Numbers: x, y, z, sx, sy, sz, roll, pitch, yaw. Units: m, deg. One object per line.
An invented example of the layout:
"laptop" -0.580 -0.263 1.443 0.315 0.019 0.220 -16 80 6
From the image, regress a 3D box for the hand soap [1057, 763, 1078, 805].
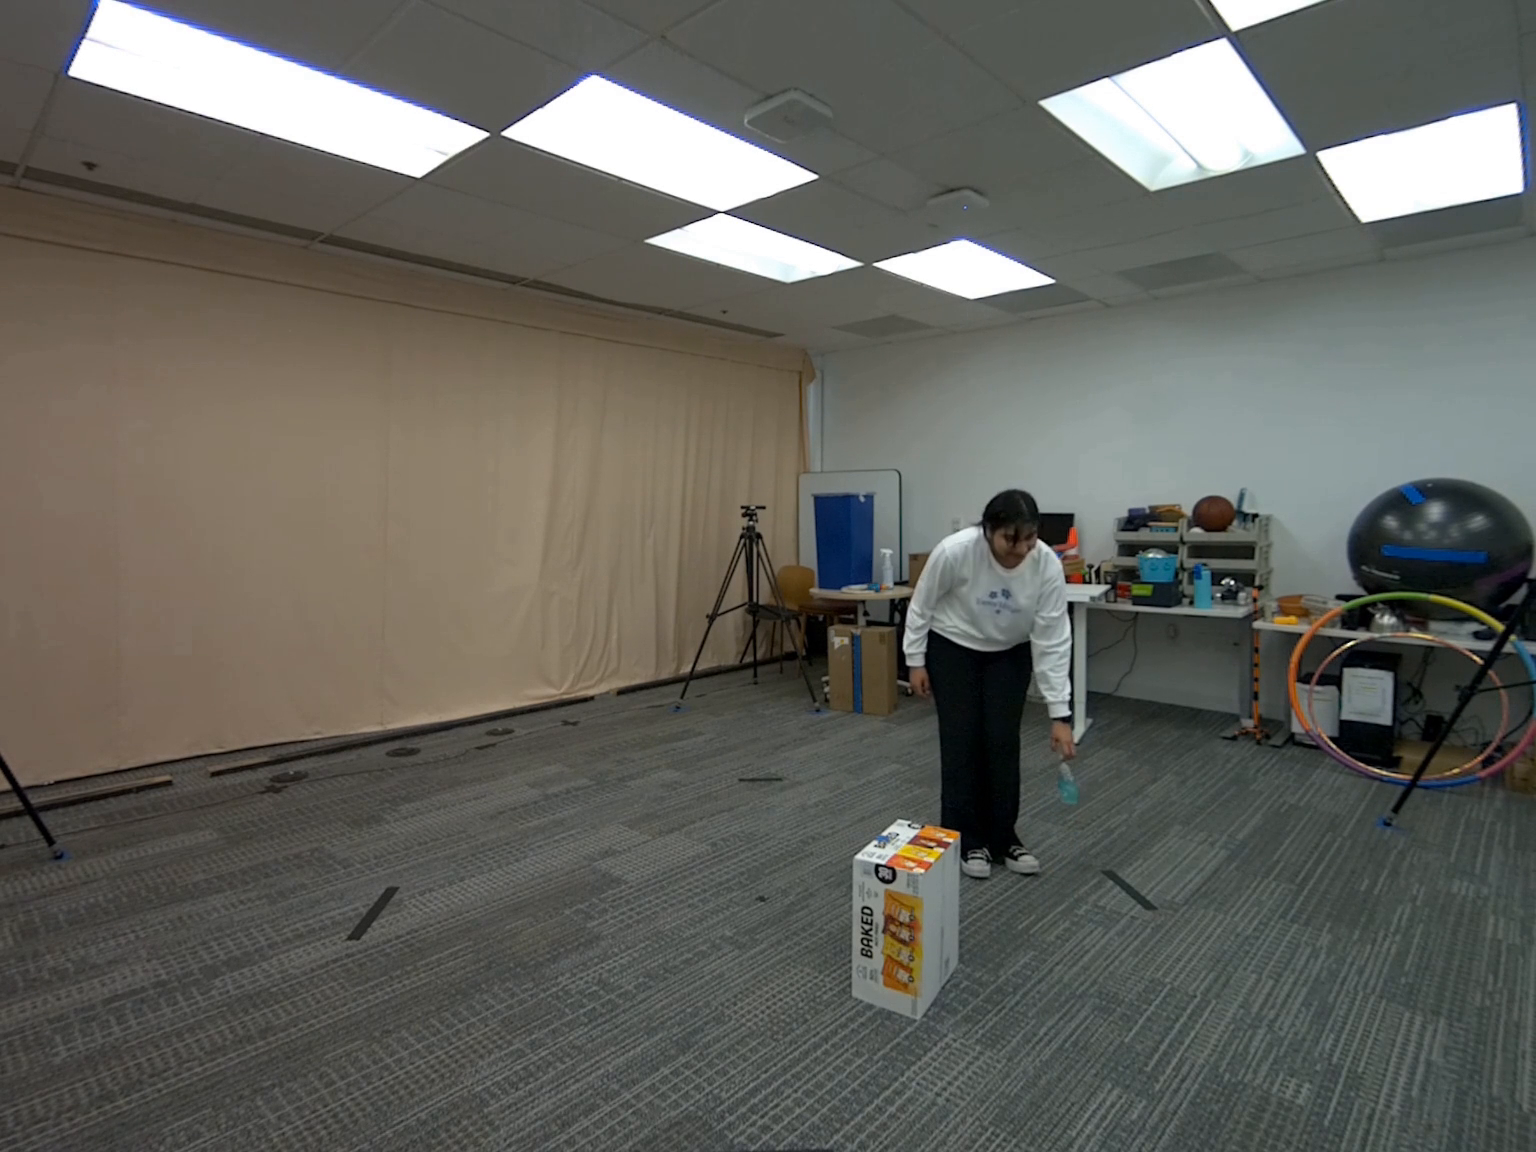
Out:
"hand soap" 1.064 0.792 3.006 0.043 0.166 0.086 -3 19 -10
